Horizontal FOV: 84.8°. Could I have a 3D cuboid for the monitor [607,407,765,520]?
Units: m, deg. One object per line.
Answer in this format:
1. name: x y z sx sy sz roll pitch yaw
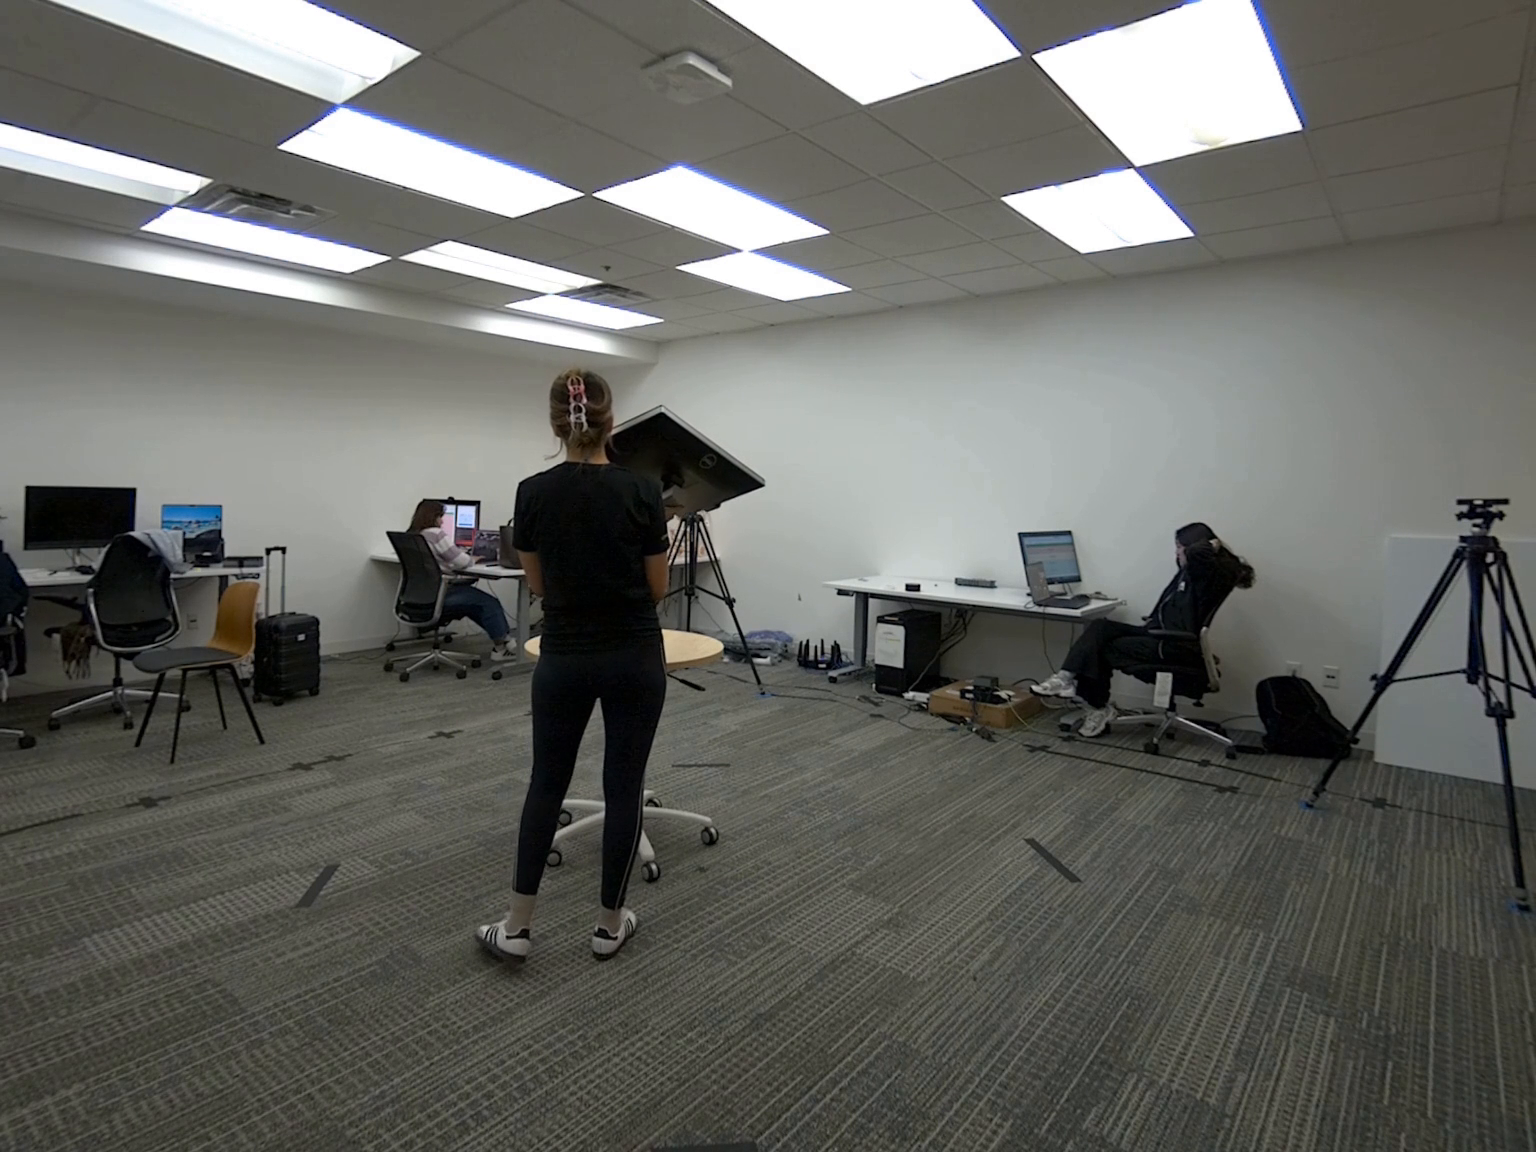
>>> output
1. monitor: -0.379 -0.288 2.778 0.527 0.193 0.517 -32 -34 24
